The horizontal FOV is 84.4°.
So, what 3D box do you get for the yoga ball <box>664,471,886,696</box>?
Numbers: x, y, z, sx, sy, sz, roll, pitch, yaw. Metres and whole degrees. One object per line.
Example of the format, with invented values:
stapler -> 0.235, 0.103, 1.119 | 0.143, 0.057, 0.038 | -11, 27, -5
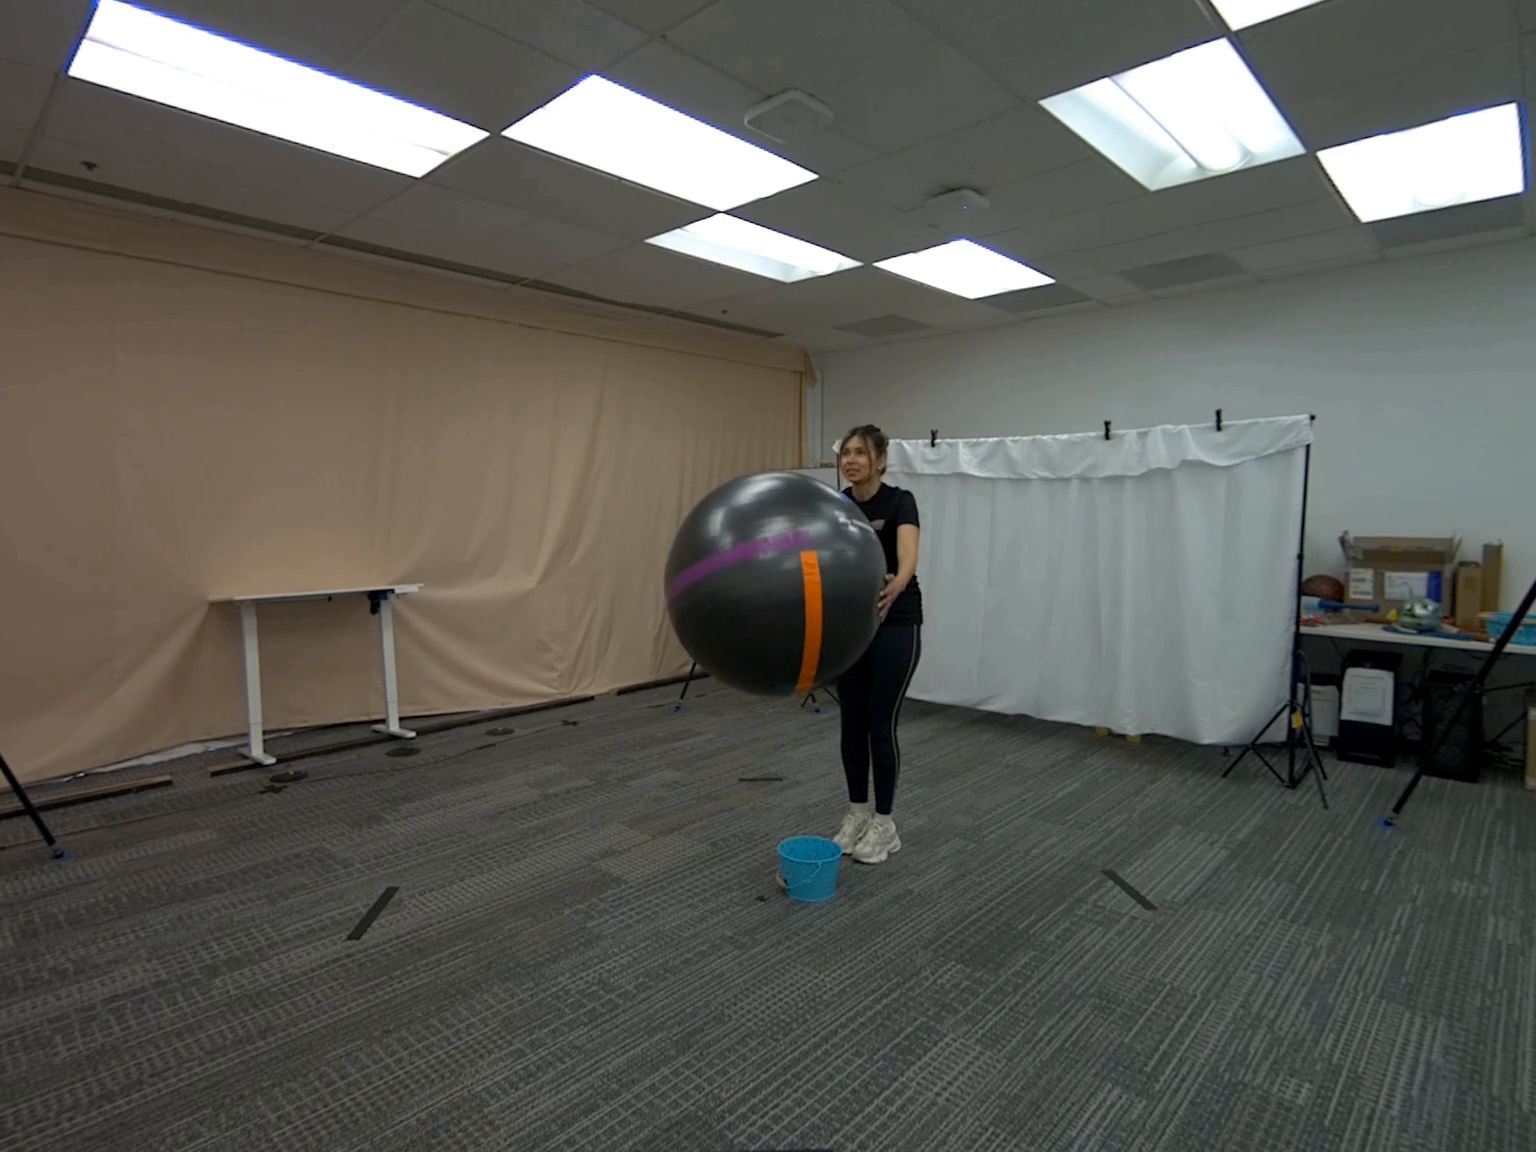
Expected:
yoga ball -> 0.023, 0.032, 2.858 | 0.757, 0.756, 0.760 | 0, 4, -2
